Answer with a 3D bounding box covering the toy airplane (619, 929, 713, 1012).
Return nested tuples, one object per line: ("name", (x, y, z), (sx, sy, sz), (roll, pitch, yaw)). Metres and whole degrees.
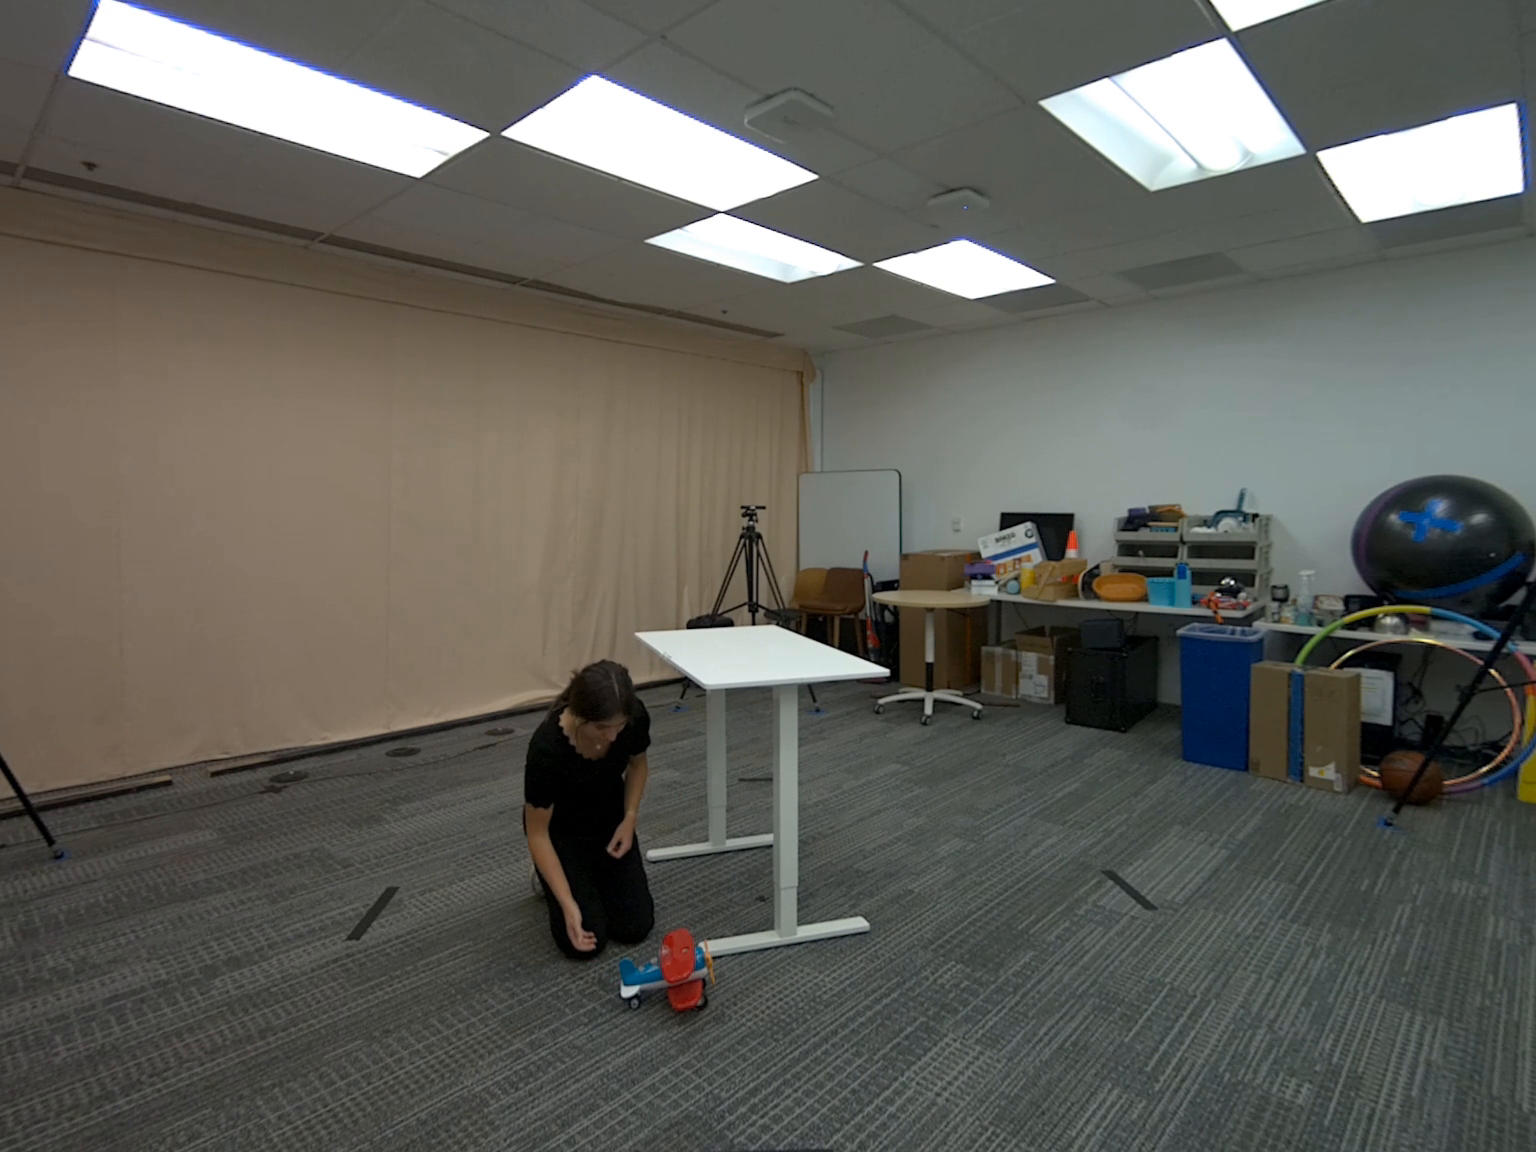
("toy airplane", (-0.276, 1.125, 2.337), (0.252, 0.156, 0.259), (-2, 5, -34))
